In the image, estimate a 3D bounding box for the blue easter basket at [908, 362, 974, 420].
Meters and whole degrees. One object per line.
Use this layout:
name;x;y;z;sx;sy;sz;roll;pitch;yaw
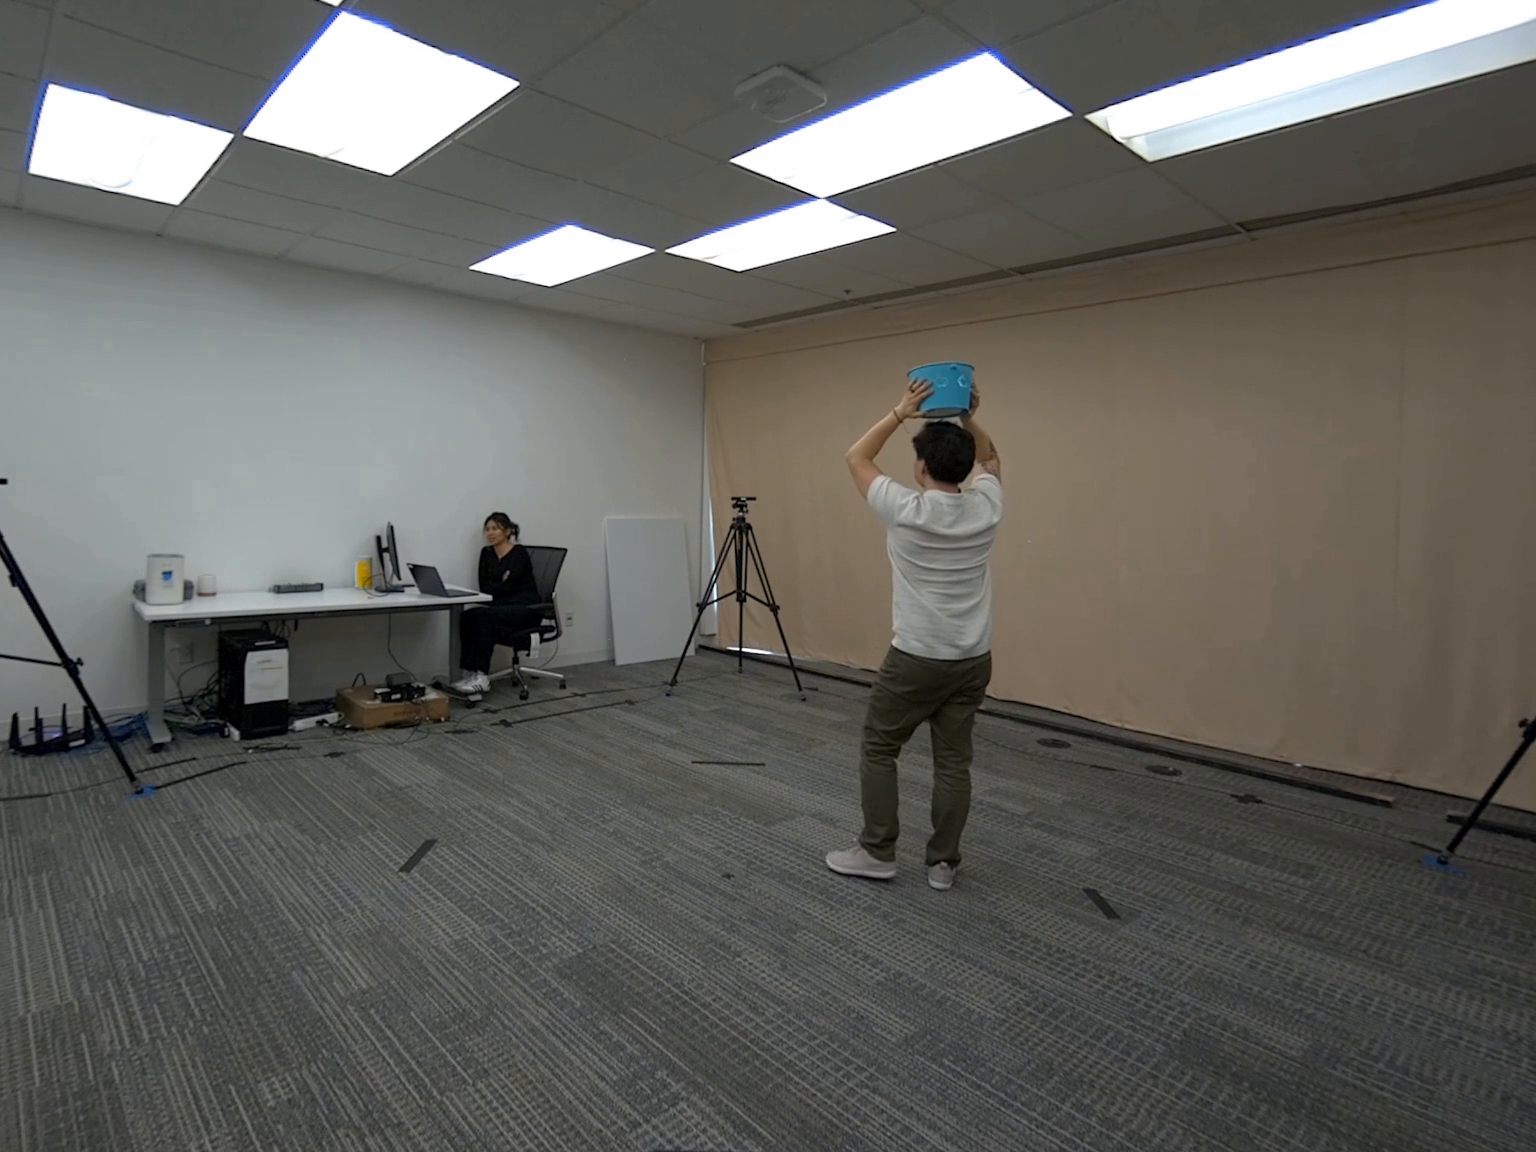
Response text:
blue easter basket;0.627;-0.652;2.996;0.243;0.156;0.243;-1;-1;-1
